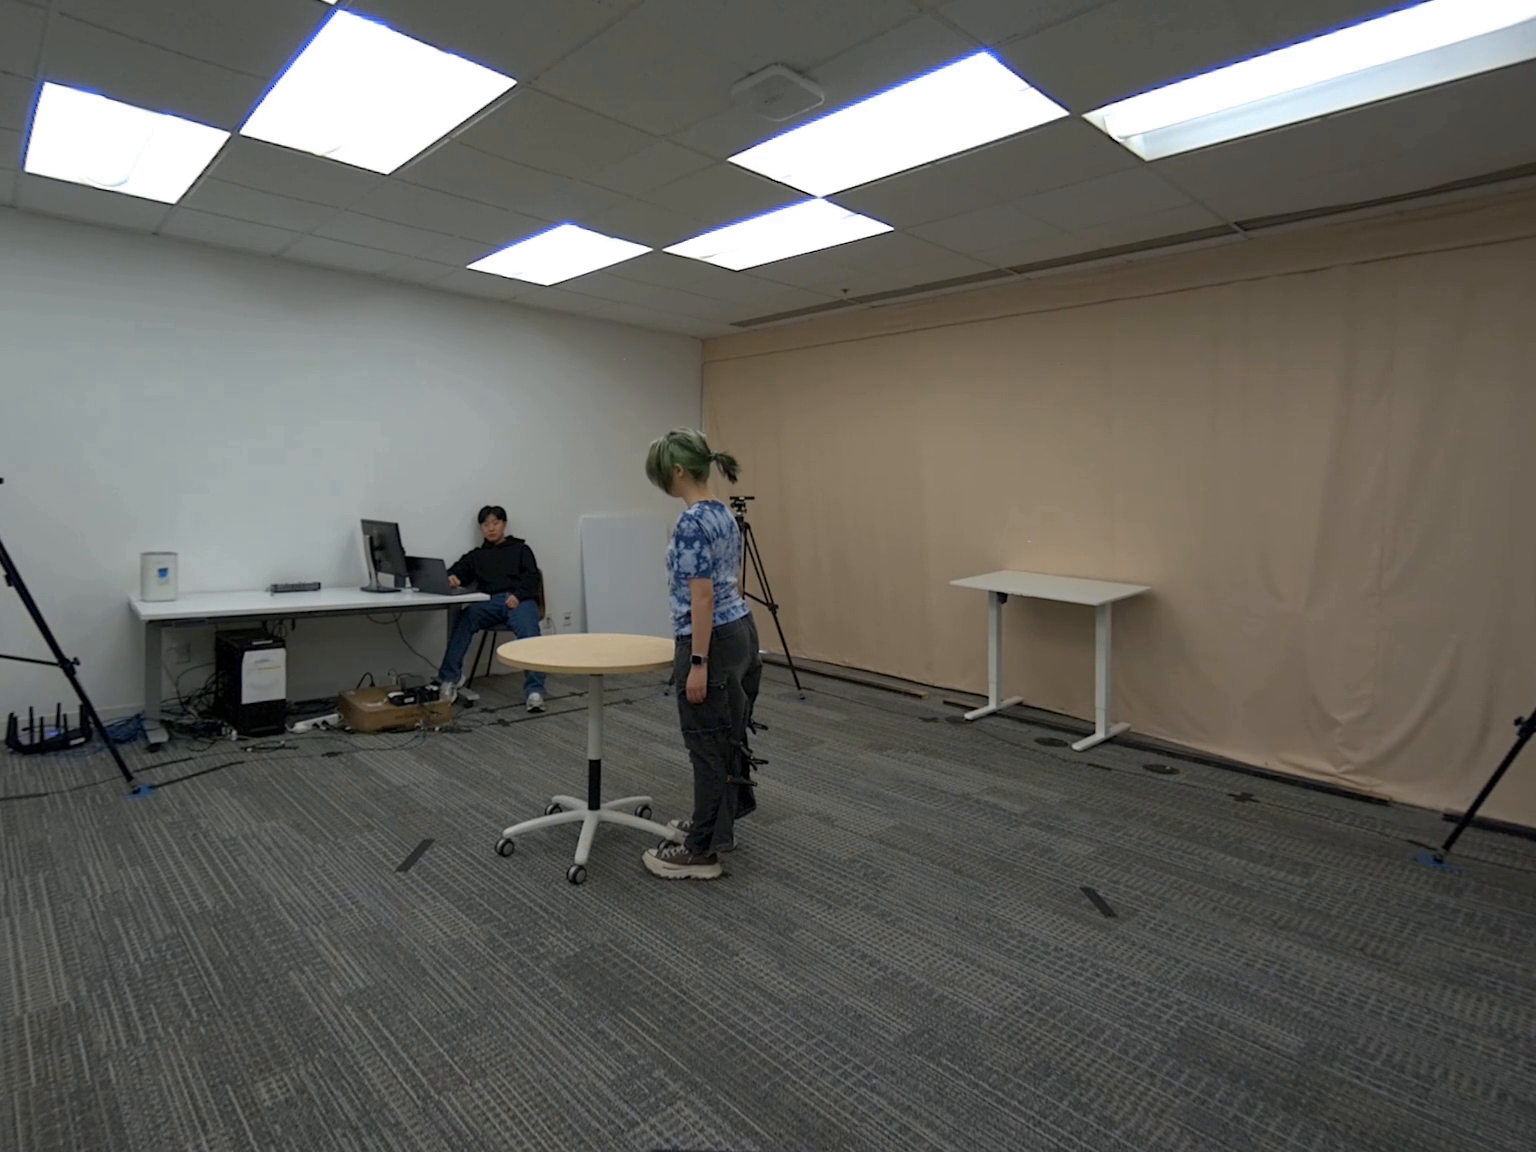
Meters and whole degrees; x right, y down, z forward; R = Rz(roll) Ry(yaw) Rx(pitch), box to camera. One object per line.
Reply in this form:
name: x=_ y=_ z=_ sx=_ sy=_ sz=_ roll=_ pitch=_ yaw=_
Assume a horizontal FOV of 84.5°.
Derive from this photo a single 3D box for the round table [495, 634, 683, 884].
round table: x=-0.680 y=0.675 z=3.352 sx=0.784 sy=0.784 sz=0.788 roll=1 pitch=4 yaw=-1
